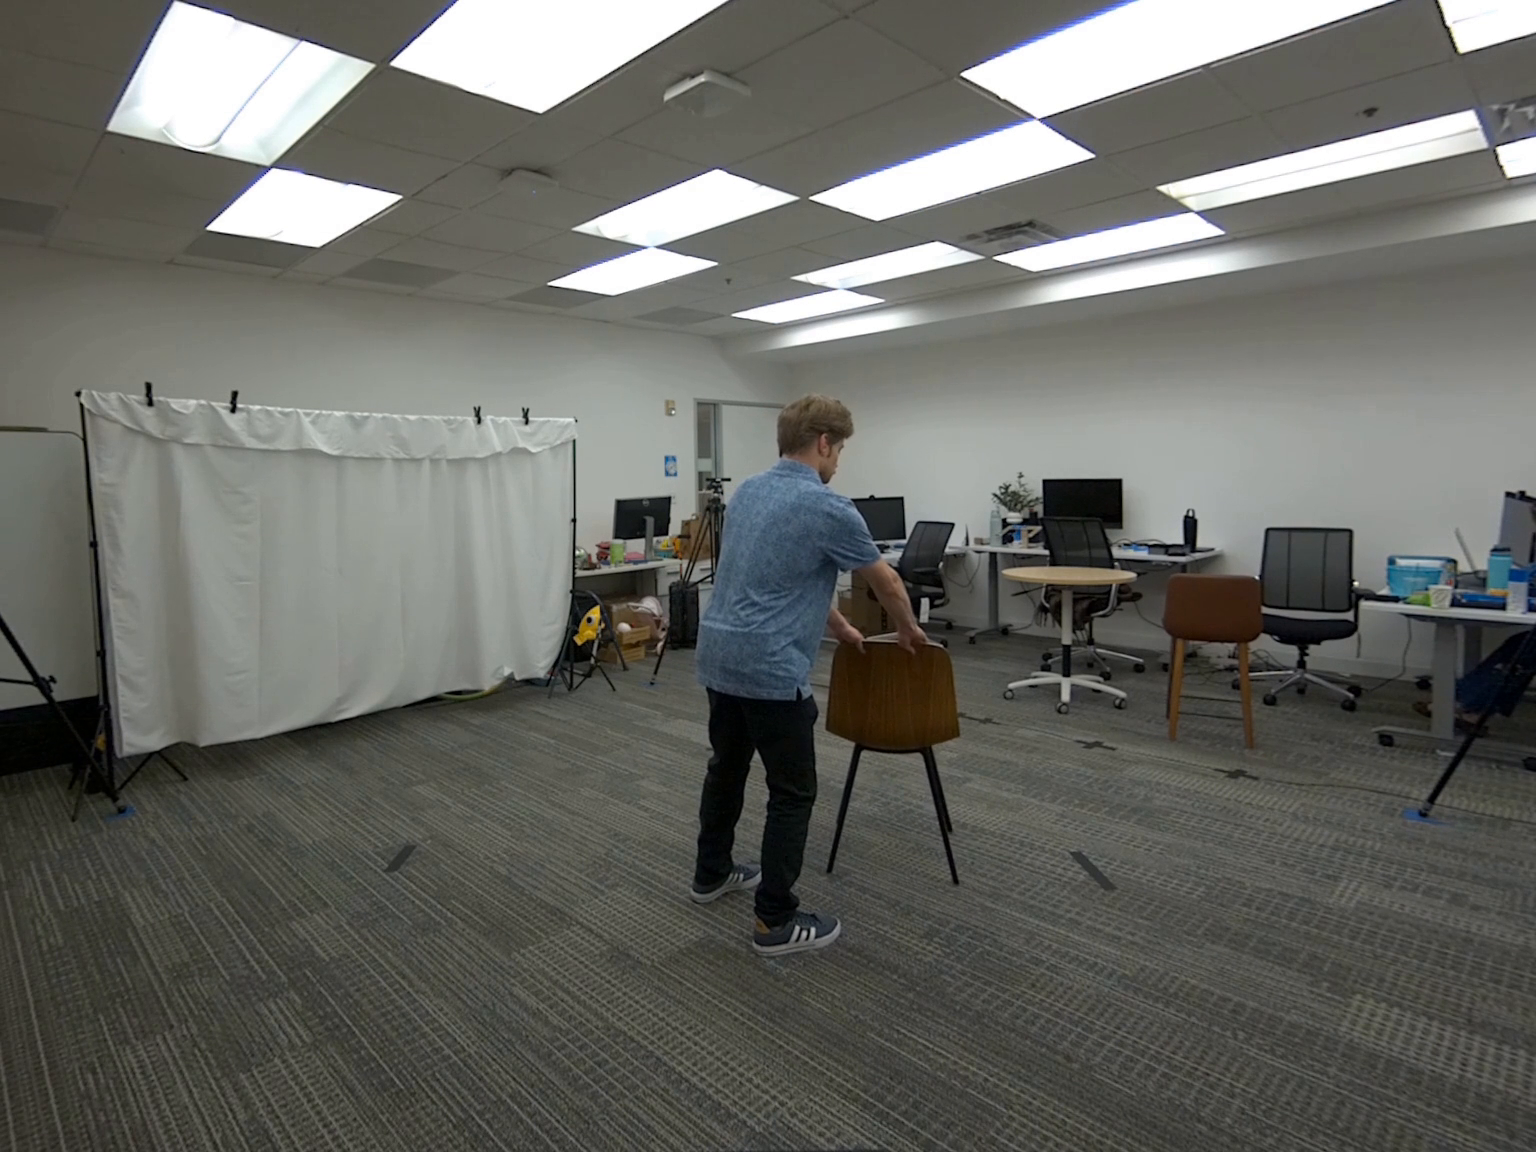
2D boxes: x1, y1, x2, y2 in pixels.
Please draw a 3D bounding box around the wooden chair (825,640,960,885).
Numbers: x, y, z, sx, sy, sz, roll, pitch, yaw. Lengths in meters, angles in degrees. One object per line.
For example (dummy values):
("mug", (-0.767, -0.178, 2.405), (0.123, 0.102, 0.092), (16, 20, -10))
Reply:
("wooden chair", (0.457, 0.600, 3.156), (0.484, 0.871, 0.521), (0, 9, 11))
